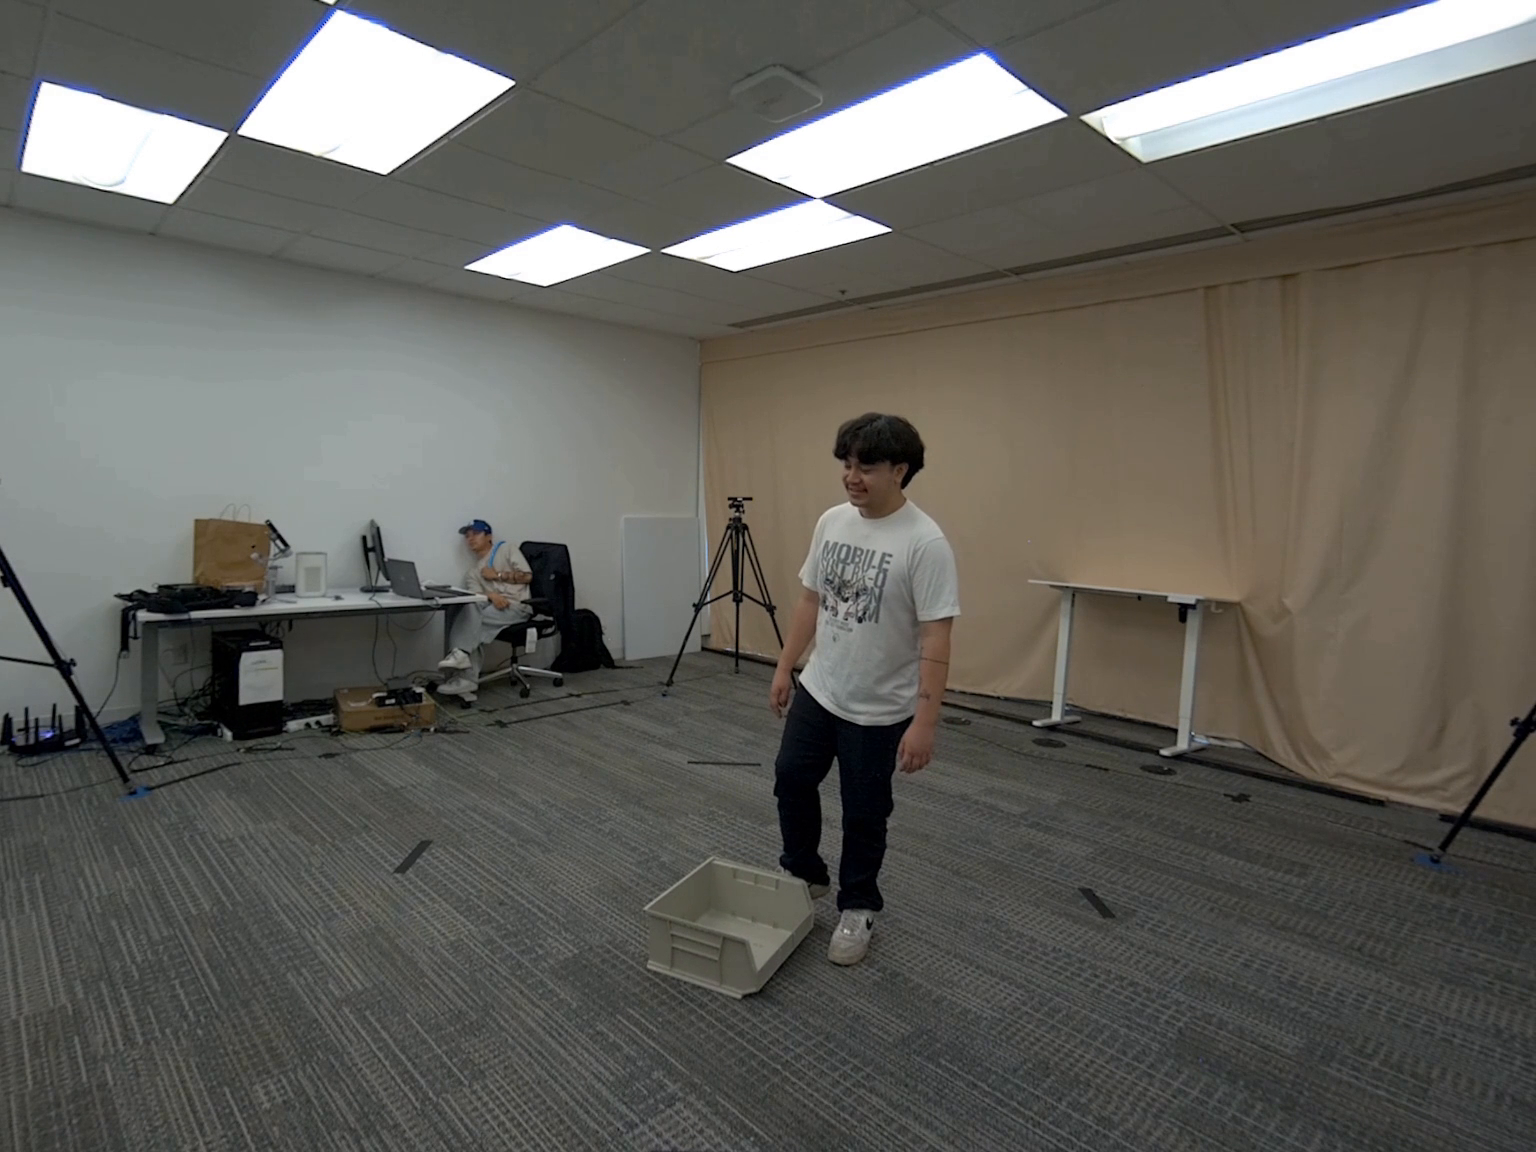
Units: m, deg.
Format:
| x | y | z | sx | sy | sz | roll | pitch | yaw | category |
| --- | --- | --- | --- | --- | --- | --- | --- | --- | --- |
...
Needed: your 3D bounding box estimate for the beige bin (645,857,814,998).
| x | y | z | sx | sy | sz | roll | pitch | yaw | category |
| --- | --- | --- | --- | --- | --- | --- | --- | --- | --- |
| -0.115 | 1.064 | 2.575 | 0.385 | 0.188 | 0.415 | 3 | 5 | 26 | beige bin |
